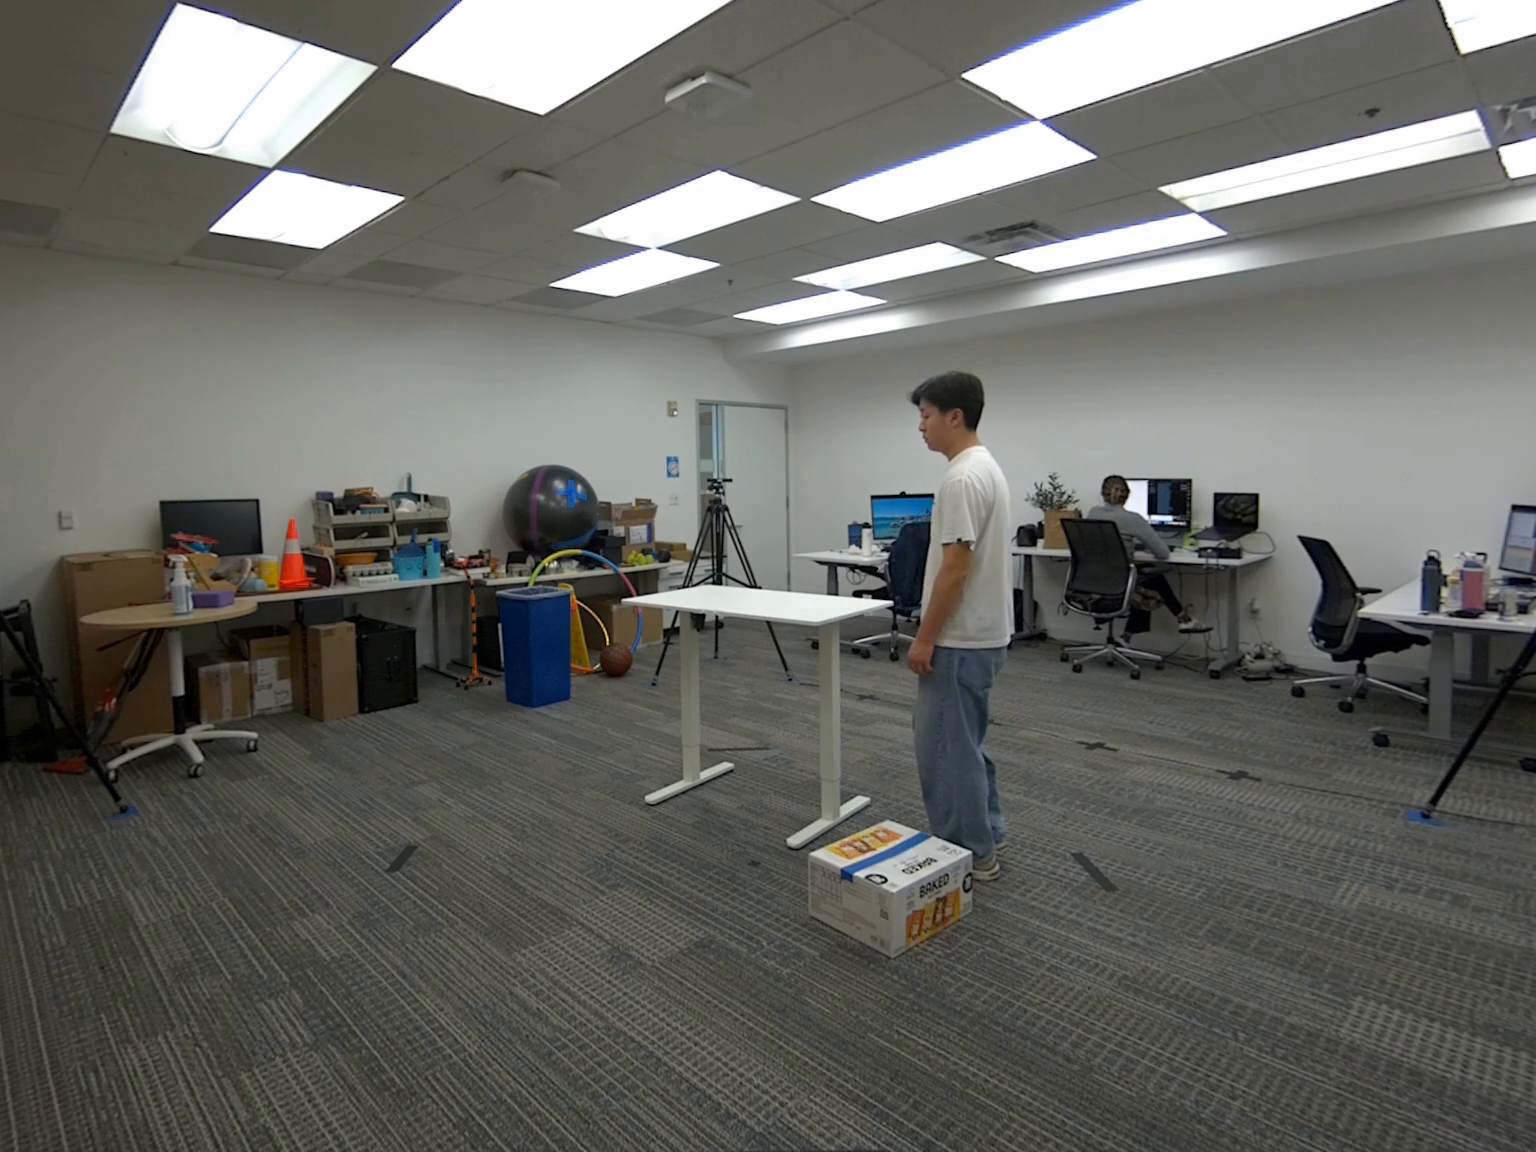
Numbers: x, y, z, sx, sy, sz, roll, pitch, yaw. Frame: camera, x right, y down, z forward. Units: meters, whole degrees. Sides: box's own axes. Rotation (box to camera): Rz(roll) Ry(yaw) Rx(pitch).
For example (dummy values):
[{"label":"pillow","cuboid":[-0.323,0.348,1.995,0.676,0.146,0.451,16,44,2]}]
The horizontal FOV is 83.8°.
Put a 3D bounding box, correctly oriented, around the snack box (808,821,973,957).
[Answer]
[{"label":"snack box","cuboid":[0.393,0.981,2.718,0.394,0.205,0.351,-6,8,-41]}]
